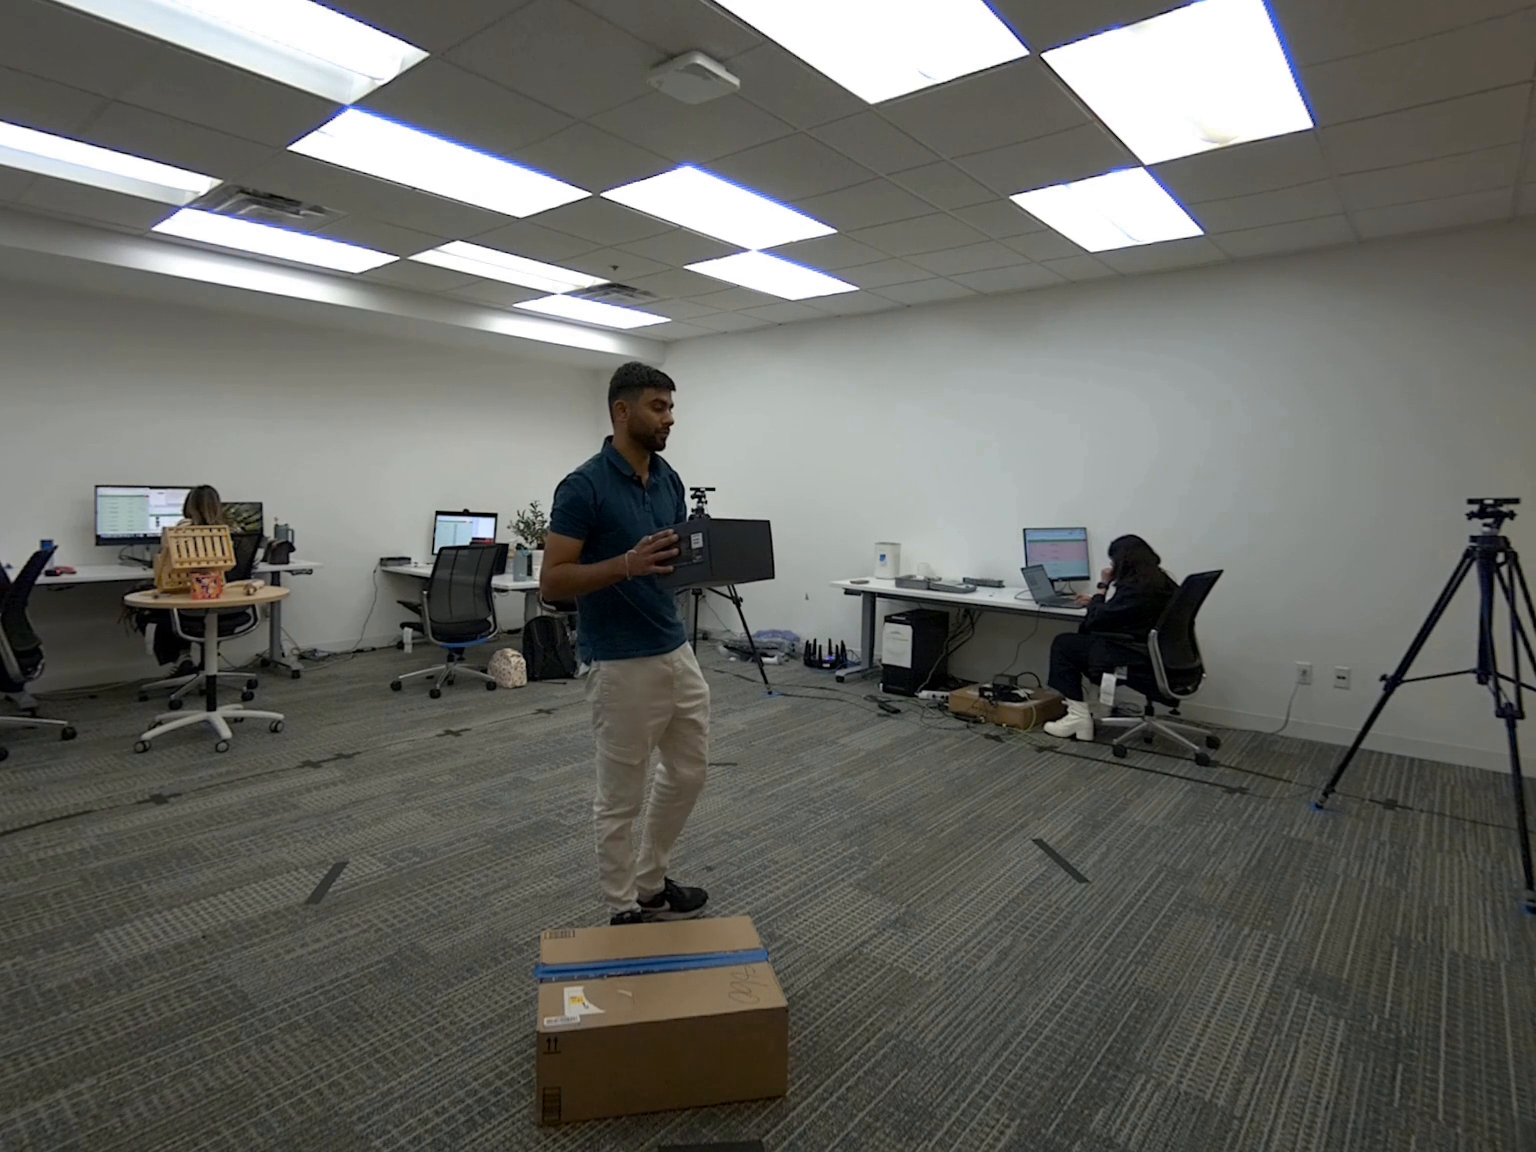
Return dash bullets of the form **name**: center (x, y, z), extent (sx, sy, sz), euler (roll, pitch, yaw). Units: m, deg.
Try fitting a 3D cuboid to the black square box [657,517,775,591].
- **black square box**: center (-0.151, -0.058, 2.198), extent (0.221, 0.157, 0.223), euler (0, -6, -43)
